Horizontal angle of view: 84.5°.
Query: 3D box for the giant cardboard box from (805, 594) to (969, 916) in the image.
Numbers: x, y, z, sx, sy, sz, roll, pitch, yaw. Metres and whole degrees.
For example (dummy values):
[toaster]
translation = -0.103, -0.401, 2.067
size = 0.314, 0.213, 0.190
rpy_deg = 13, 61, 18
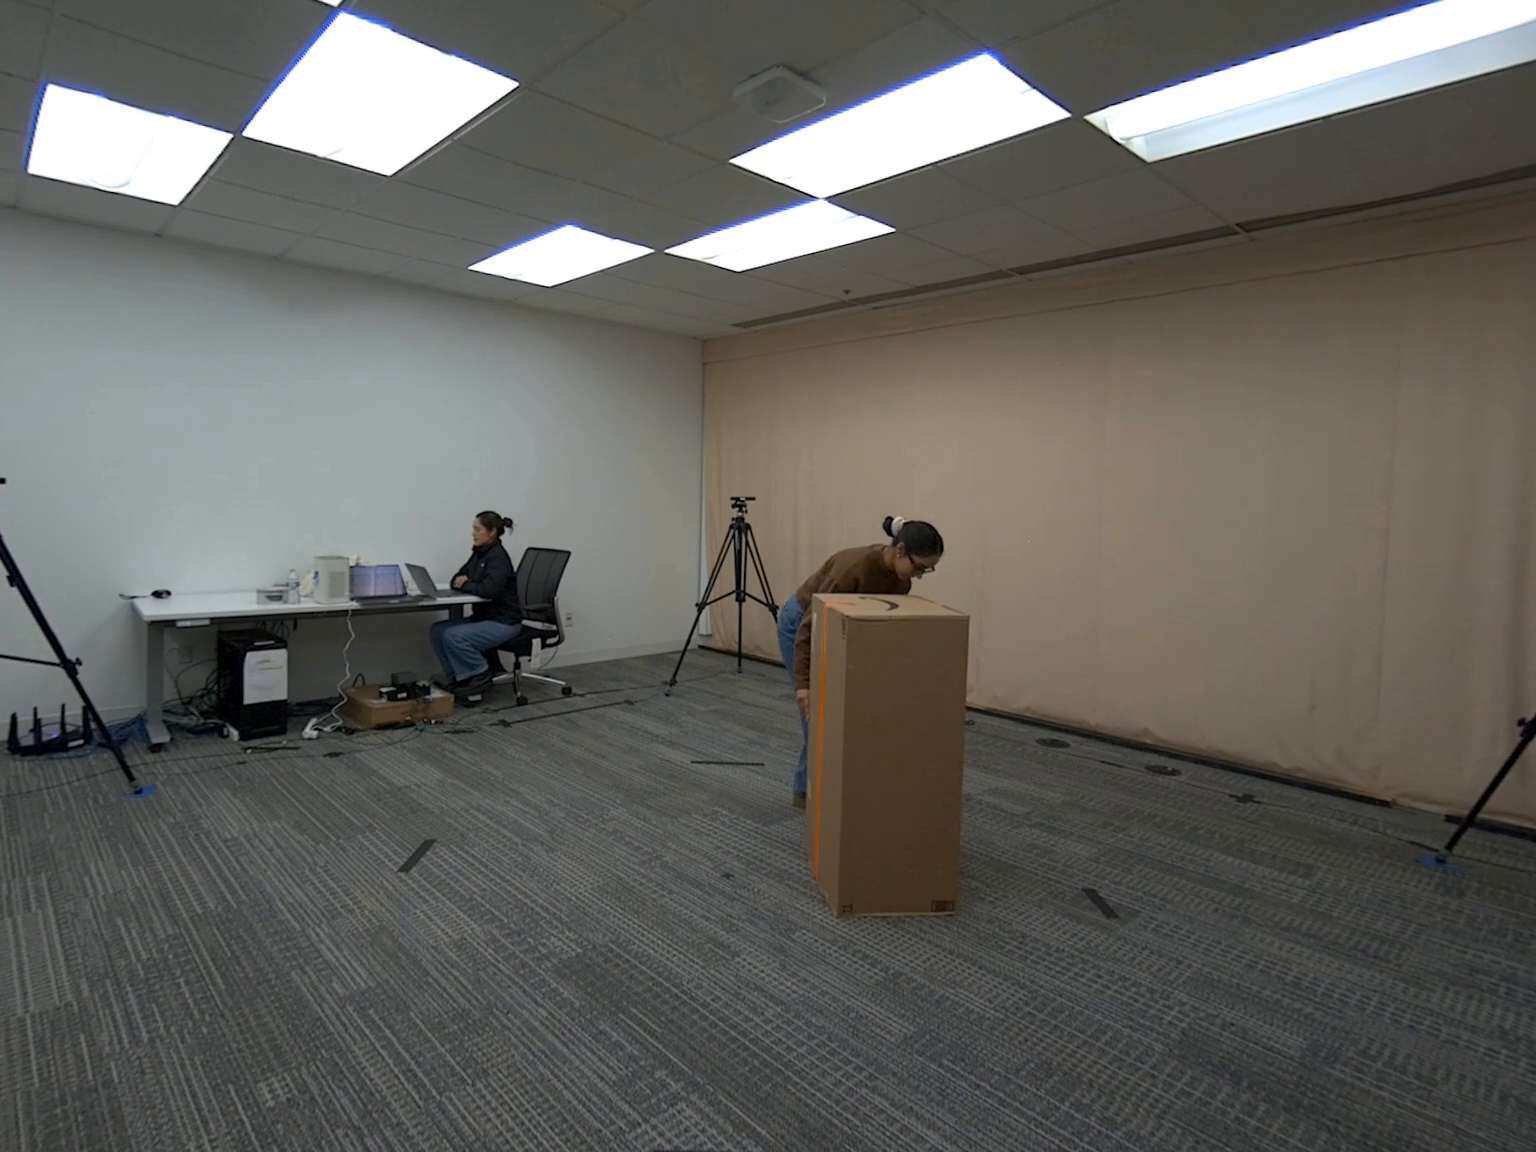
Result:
[giant cardboard box]
translation = 0.400, 0.613, 3.077
size = 0.423, 1.022, 0.583
rpy_deg = 1, 5, -9
